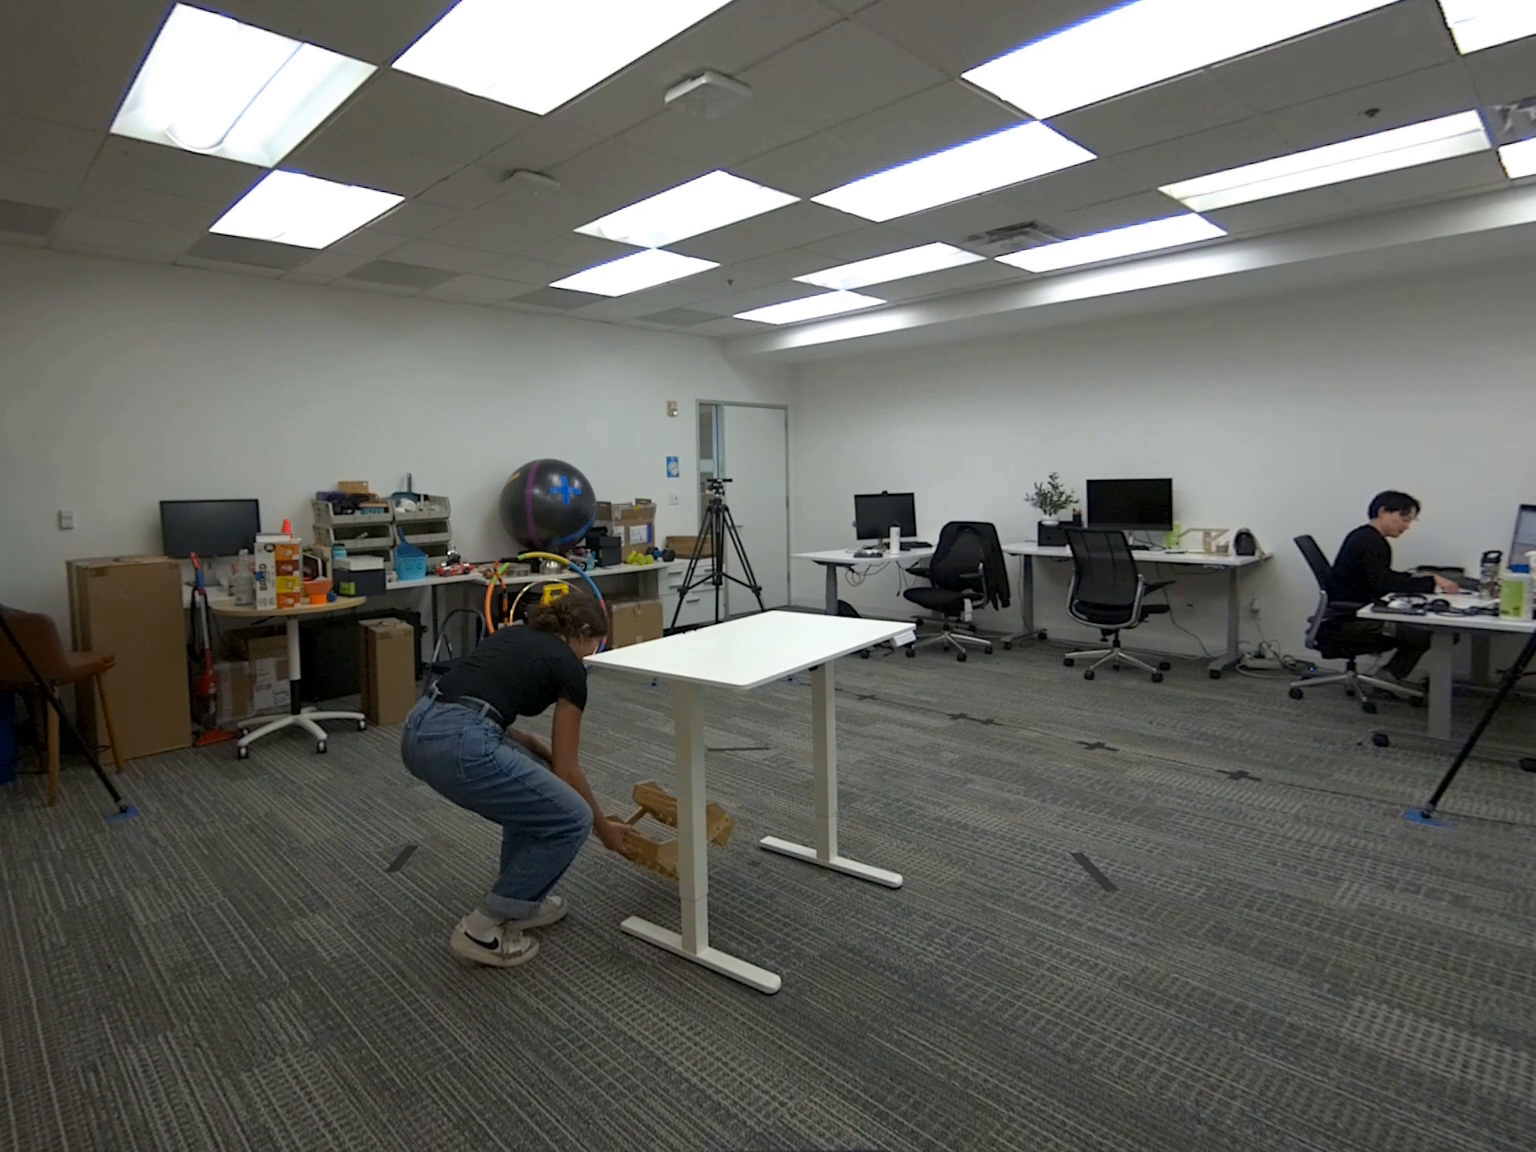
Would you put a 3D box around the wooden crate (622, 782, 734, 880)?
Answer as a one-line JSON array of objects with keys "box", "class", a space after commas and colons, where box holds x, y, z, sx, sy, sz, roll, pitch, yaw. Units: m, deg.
[{"box": [-0.347, 0.832, 2.849, 0.334, 0.275, 0.290, 5, -35, 39], "class": "wooden crate"}]
